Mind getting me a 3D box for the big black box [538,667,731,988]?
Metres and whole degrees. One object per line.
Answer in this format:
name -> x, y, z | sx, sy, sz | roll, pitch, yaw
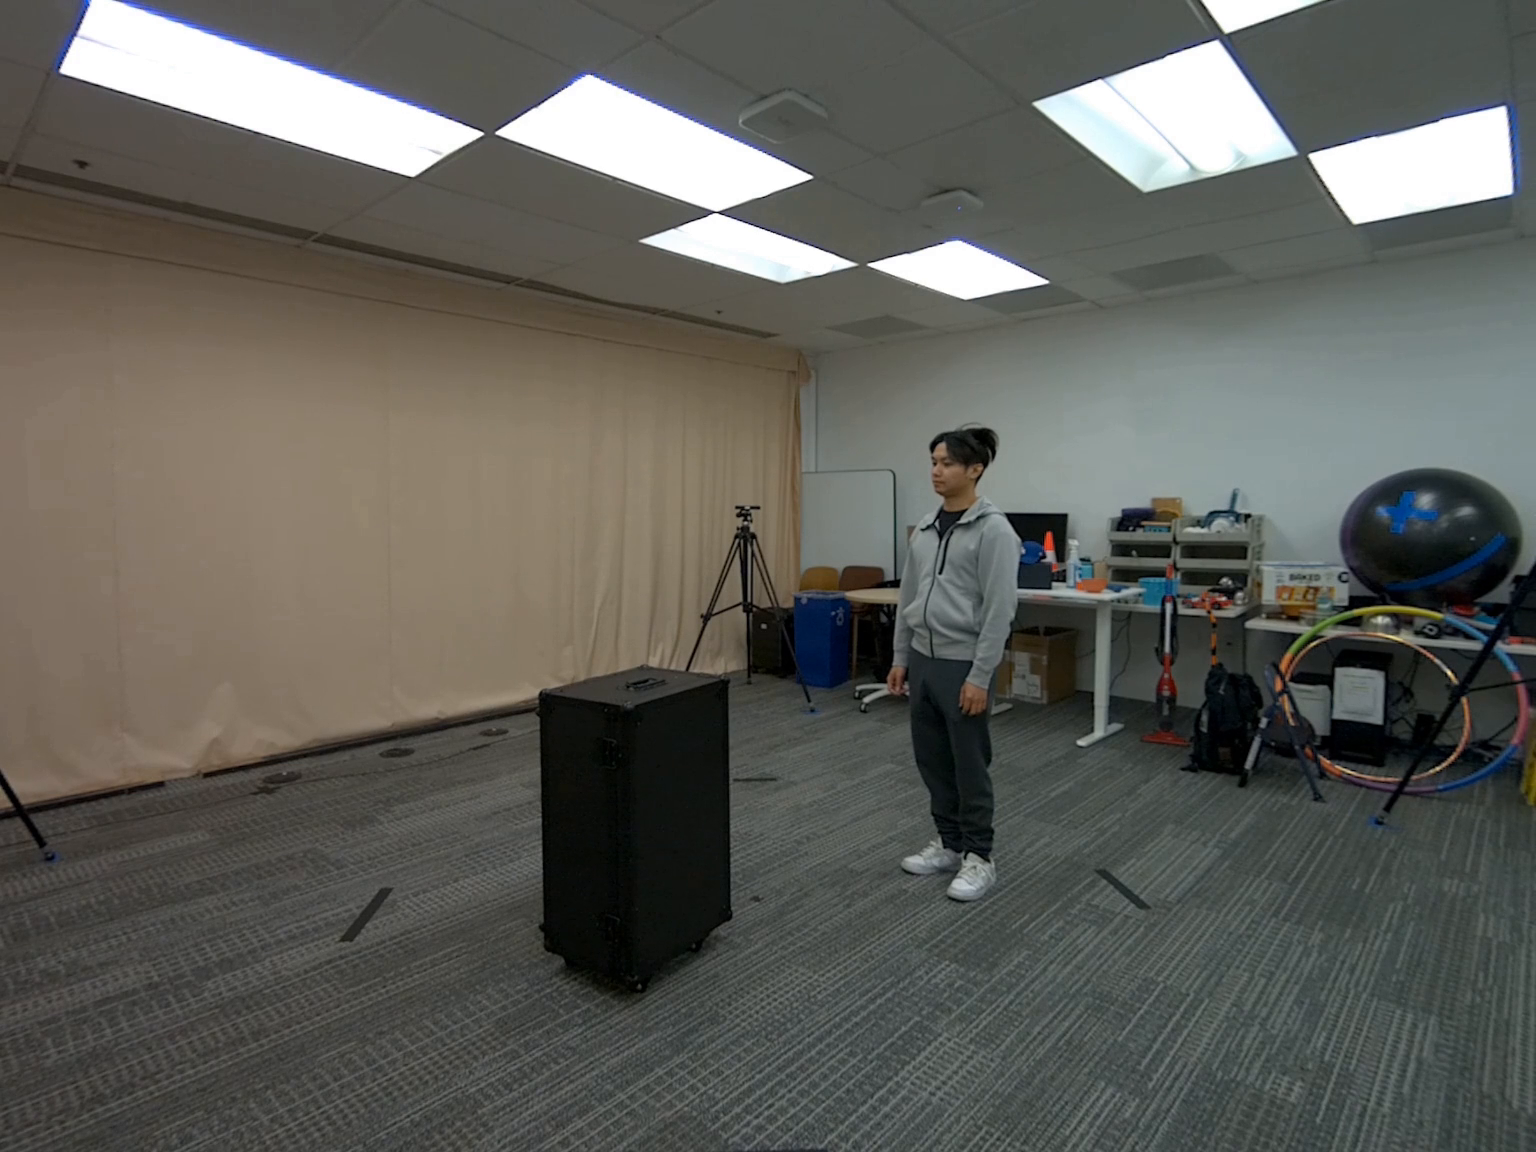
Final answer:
big black box -> -0.409, 0.757, 2.586 | 0.408, 0.860, 0.506 | 1, 3, 33
